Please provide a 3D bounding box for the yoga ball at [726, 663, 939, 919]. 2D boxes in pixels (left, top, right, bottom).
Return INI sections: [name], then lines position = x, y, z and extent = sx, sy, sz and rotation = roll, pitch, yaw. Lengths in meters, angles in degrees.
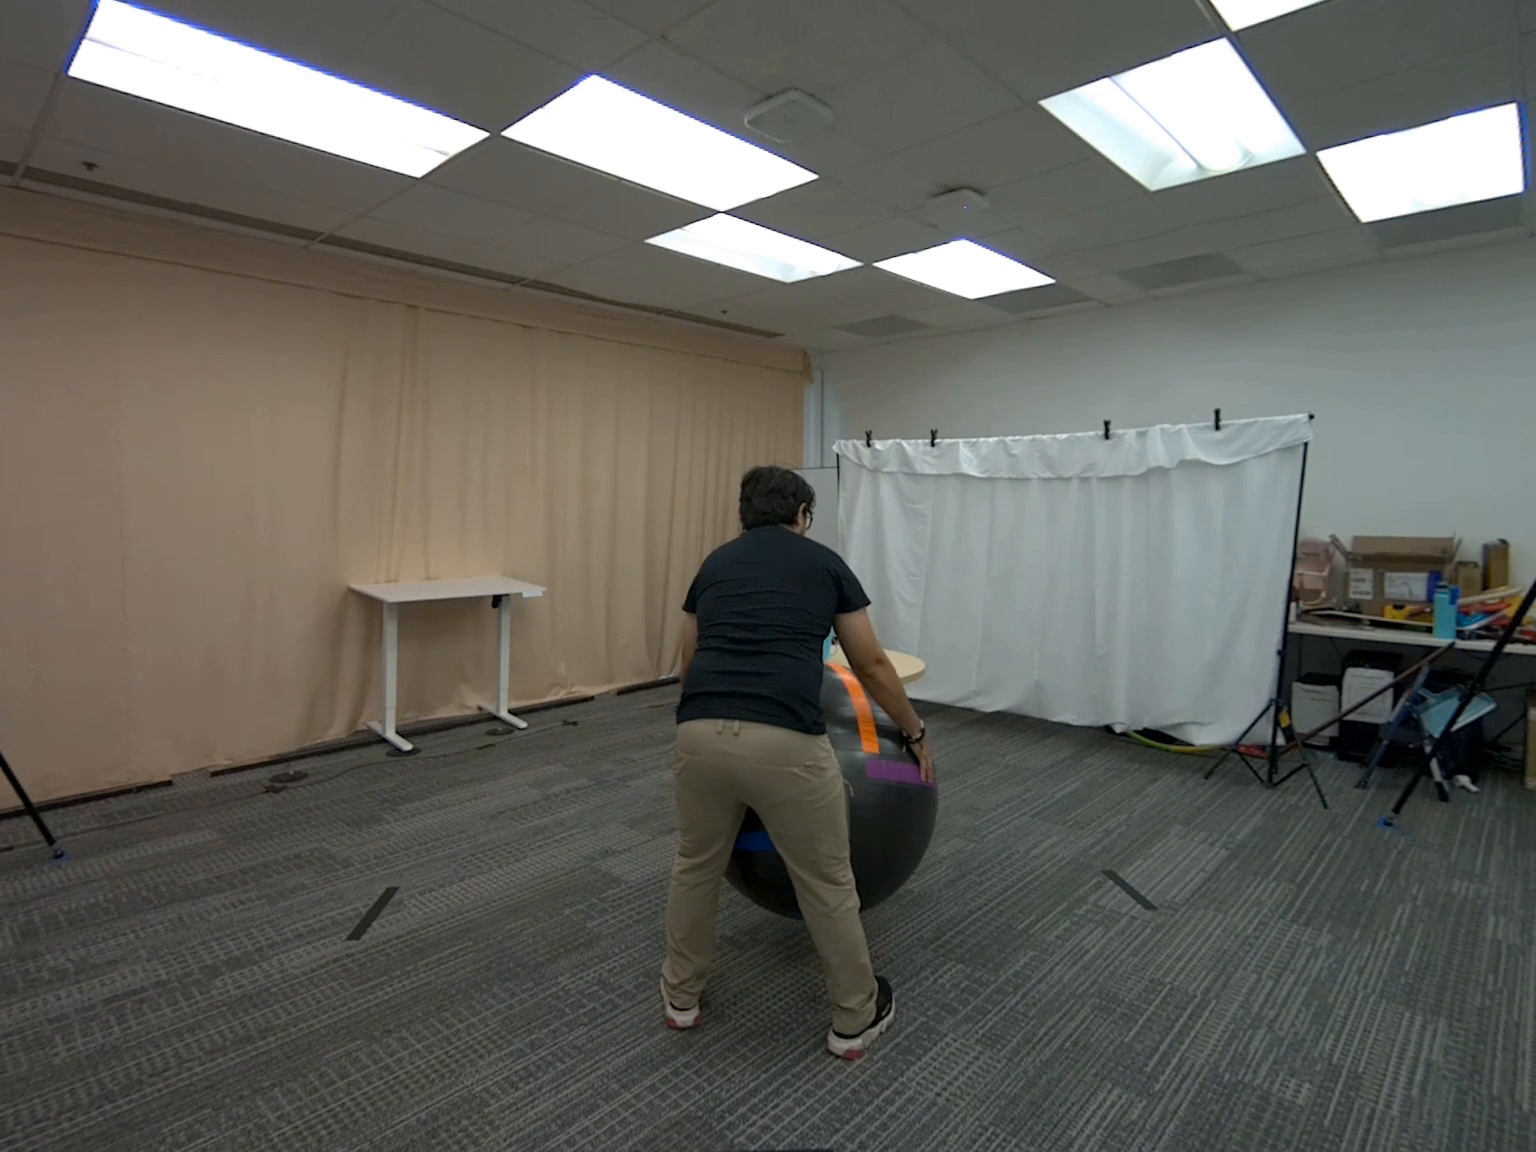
[yoga ball]
position = 0.145, 0.658, 2.580
extent = 0.757, 0.756, 0.760
rotation = 0, 4, -2
